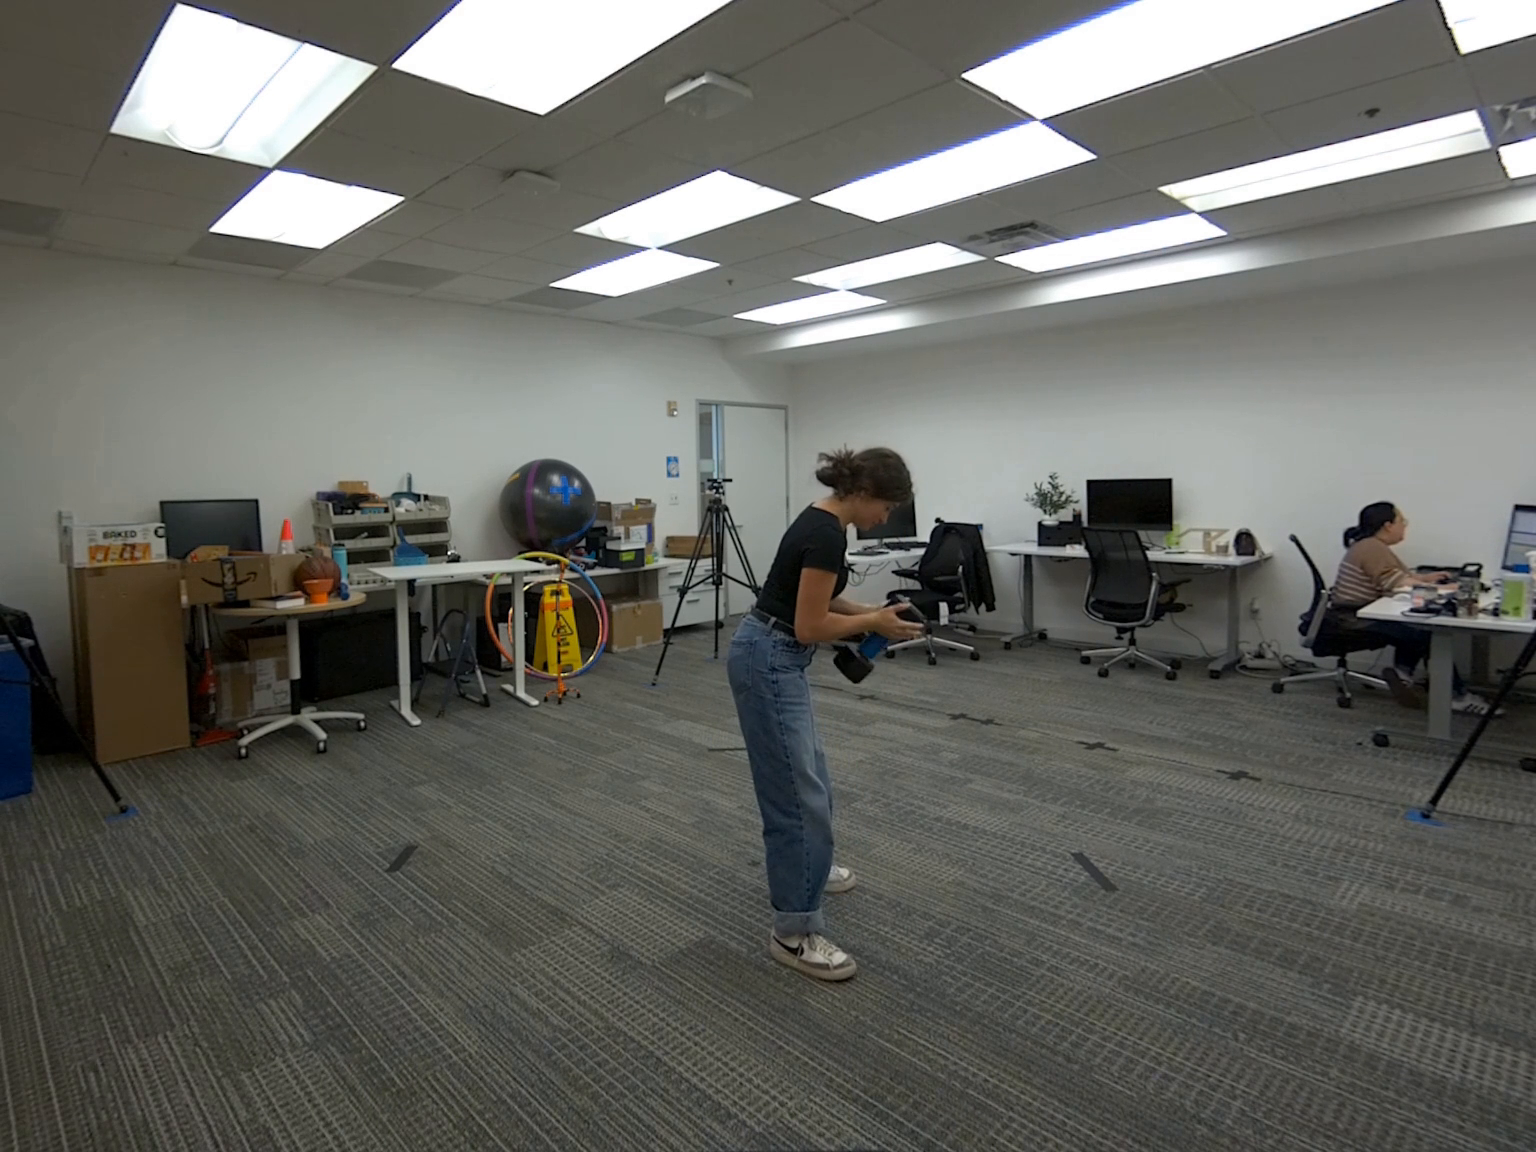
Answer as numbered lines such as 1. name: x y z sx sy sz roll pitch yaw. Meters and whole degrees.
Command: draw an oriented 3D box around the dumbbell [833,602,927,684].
1. dumbbell: 0.324 0.206 2.602 0.104 0.293 0.128 38 9 -47
